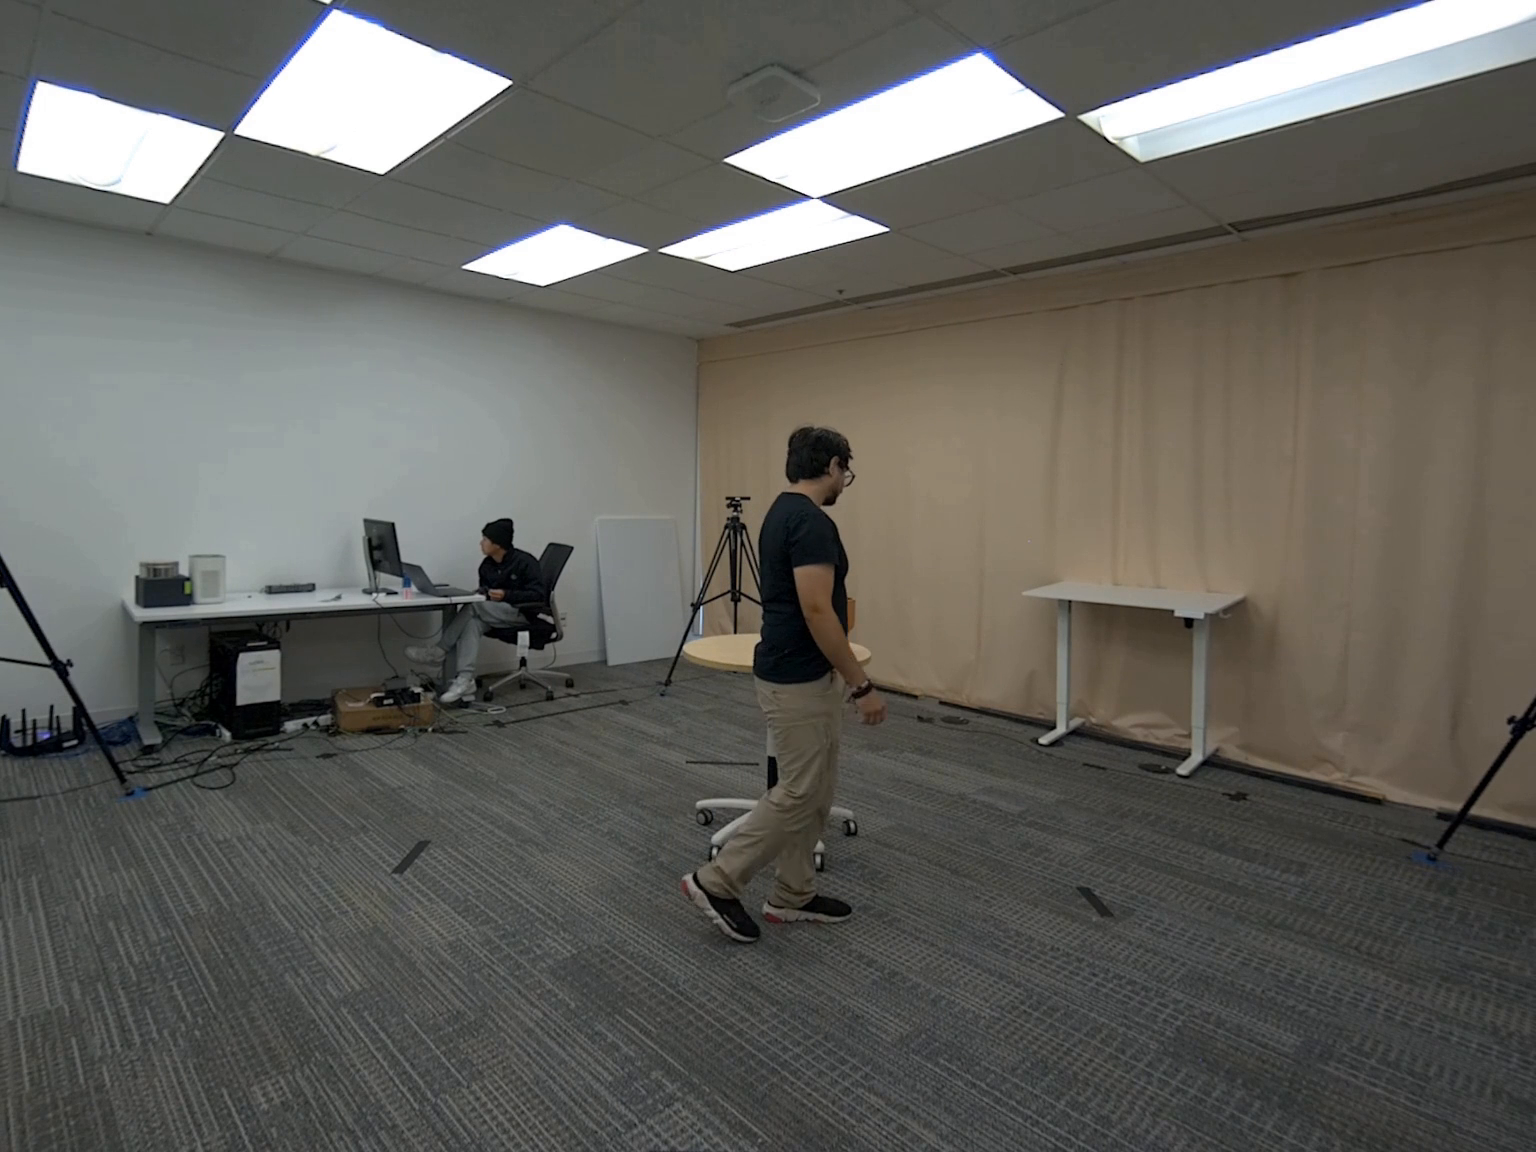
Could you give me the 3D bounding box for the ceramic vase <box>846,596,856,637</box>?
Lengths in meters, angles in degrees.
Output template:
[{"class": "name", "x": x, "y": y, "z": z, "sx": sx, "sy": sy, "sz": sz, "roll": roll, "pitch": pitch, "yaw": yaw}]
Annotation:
[{"class": "ceramic vase", "x": 0.278, "y": 0.203, "z": 3.376, "sx": 0.158, "sy": 0.219, "sz": 0.135, "roll": 1, "pitch": 3, "yaw": -5}]
